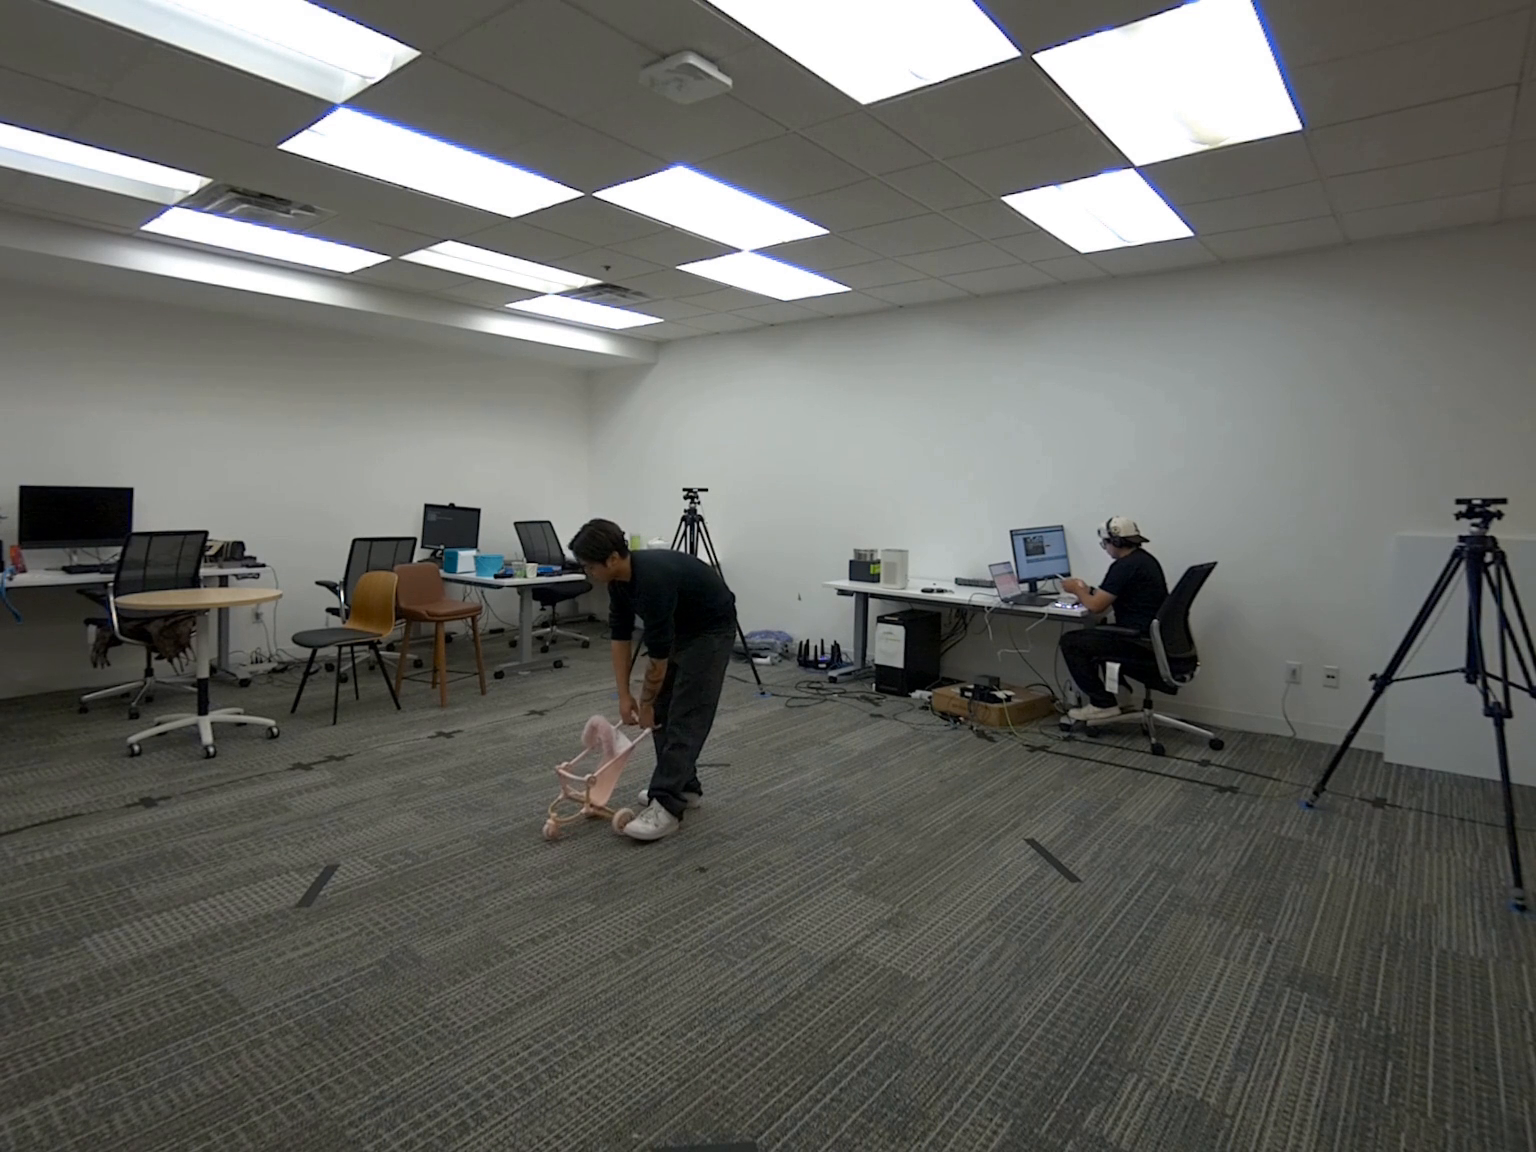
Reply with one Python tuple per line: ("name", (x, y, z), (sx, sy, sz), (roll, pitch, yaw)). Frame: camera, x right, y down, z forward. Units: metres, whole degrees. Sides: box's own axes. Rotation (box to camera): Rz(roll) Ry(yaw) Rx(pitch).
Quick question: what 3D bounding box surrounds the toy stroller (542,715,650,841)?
("toy stroller", (-0.721, 0.805, 3.453), (0.329, 0.537, 0.290), (19, -8, -36))
